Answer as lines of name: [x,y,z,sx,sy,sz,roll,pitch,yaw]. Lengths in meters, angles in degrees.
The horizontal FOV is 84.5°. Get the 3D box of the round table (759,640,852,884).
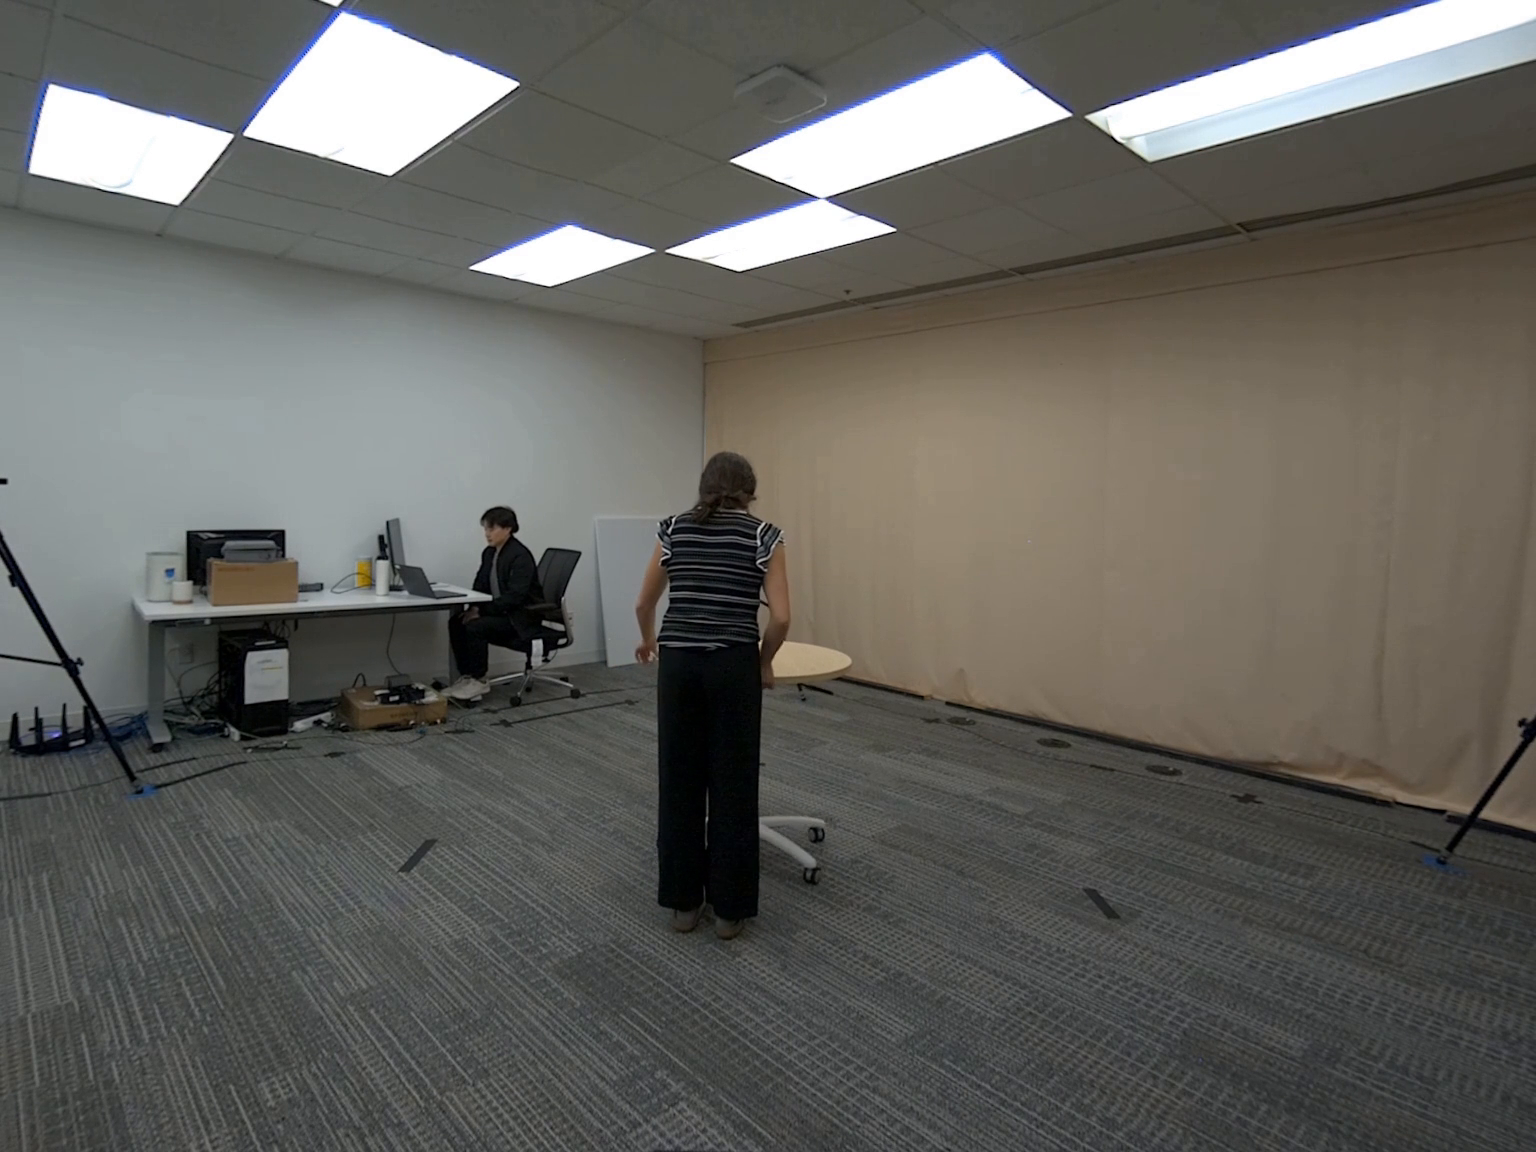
round table: [-0.089,0.701,3.266,0.784,0.784,0.788,2,4,-1]
